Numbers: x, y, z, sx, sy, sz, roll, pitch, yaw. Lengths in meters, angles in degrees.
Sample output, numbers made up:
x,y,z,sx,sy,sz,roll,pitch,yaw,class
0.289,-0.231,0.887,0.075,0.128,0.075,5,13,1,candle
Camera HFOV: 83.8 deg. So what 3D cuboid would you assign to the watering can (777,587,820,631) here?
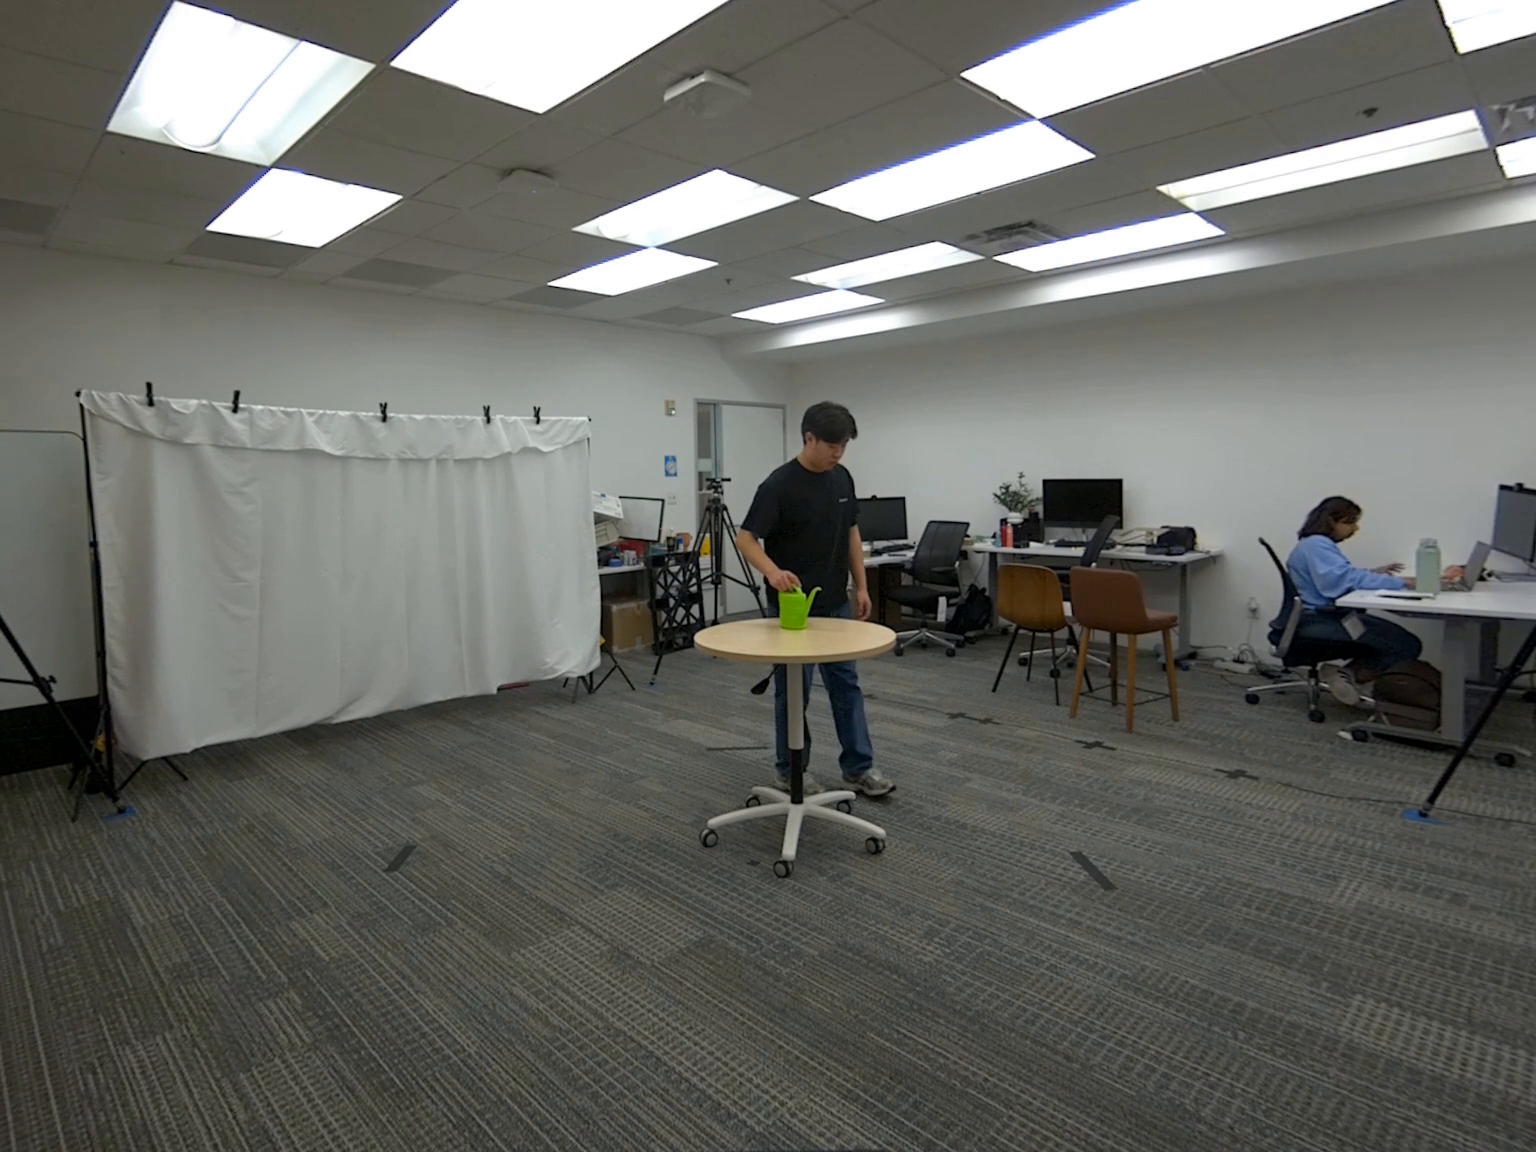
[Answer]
x,y,z,sx,sy,sz,roll,pitch,yaw,class
0.114,0.126,3.375,0.096,0.176,0.283,-5,5,-17,watering can
